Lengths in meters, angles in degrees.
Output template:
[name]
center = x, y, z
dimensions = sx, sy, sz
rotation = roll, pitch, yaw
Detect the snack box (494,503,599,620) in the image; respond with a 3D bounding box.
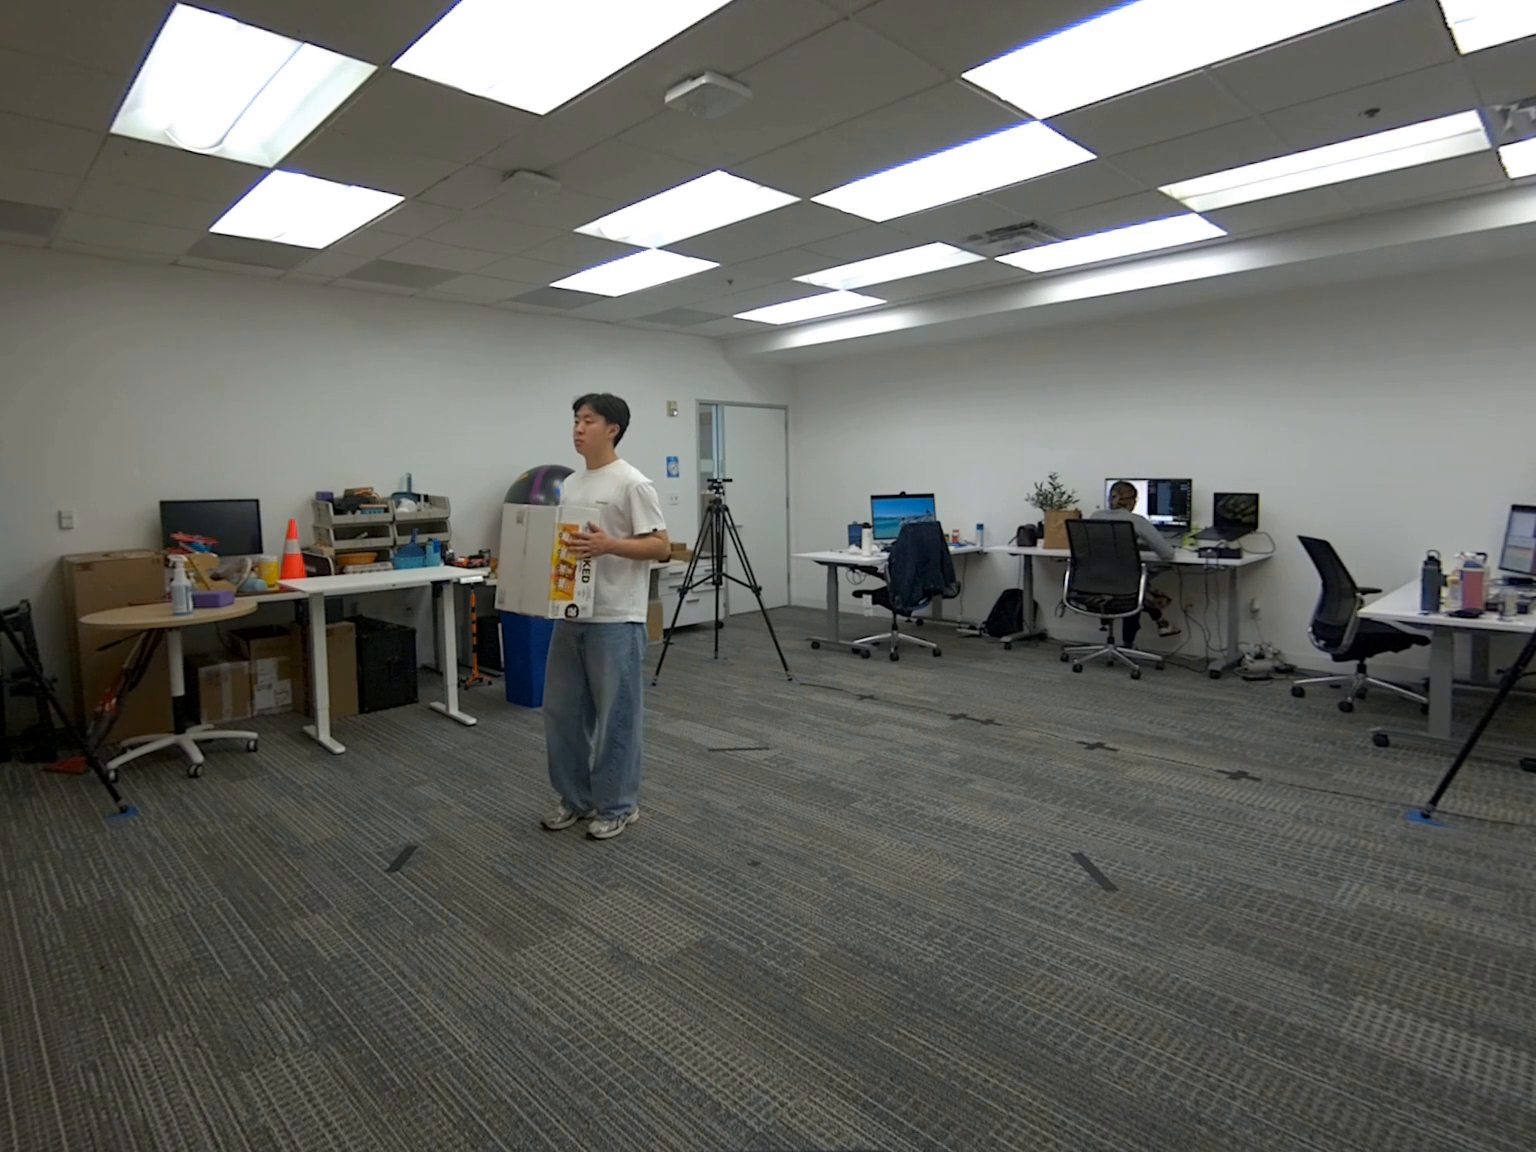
[snack box]
center = -0.842, -0.060, 3.224
dimensions = 0.351, 0.405, 0.199
rotation = 4, 0, 41
